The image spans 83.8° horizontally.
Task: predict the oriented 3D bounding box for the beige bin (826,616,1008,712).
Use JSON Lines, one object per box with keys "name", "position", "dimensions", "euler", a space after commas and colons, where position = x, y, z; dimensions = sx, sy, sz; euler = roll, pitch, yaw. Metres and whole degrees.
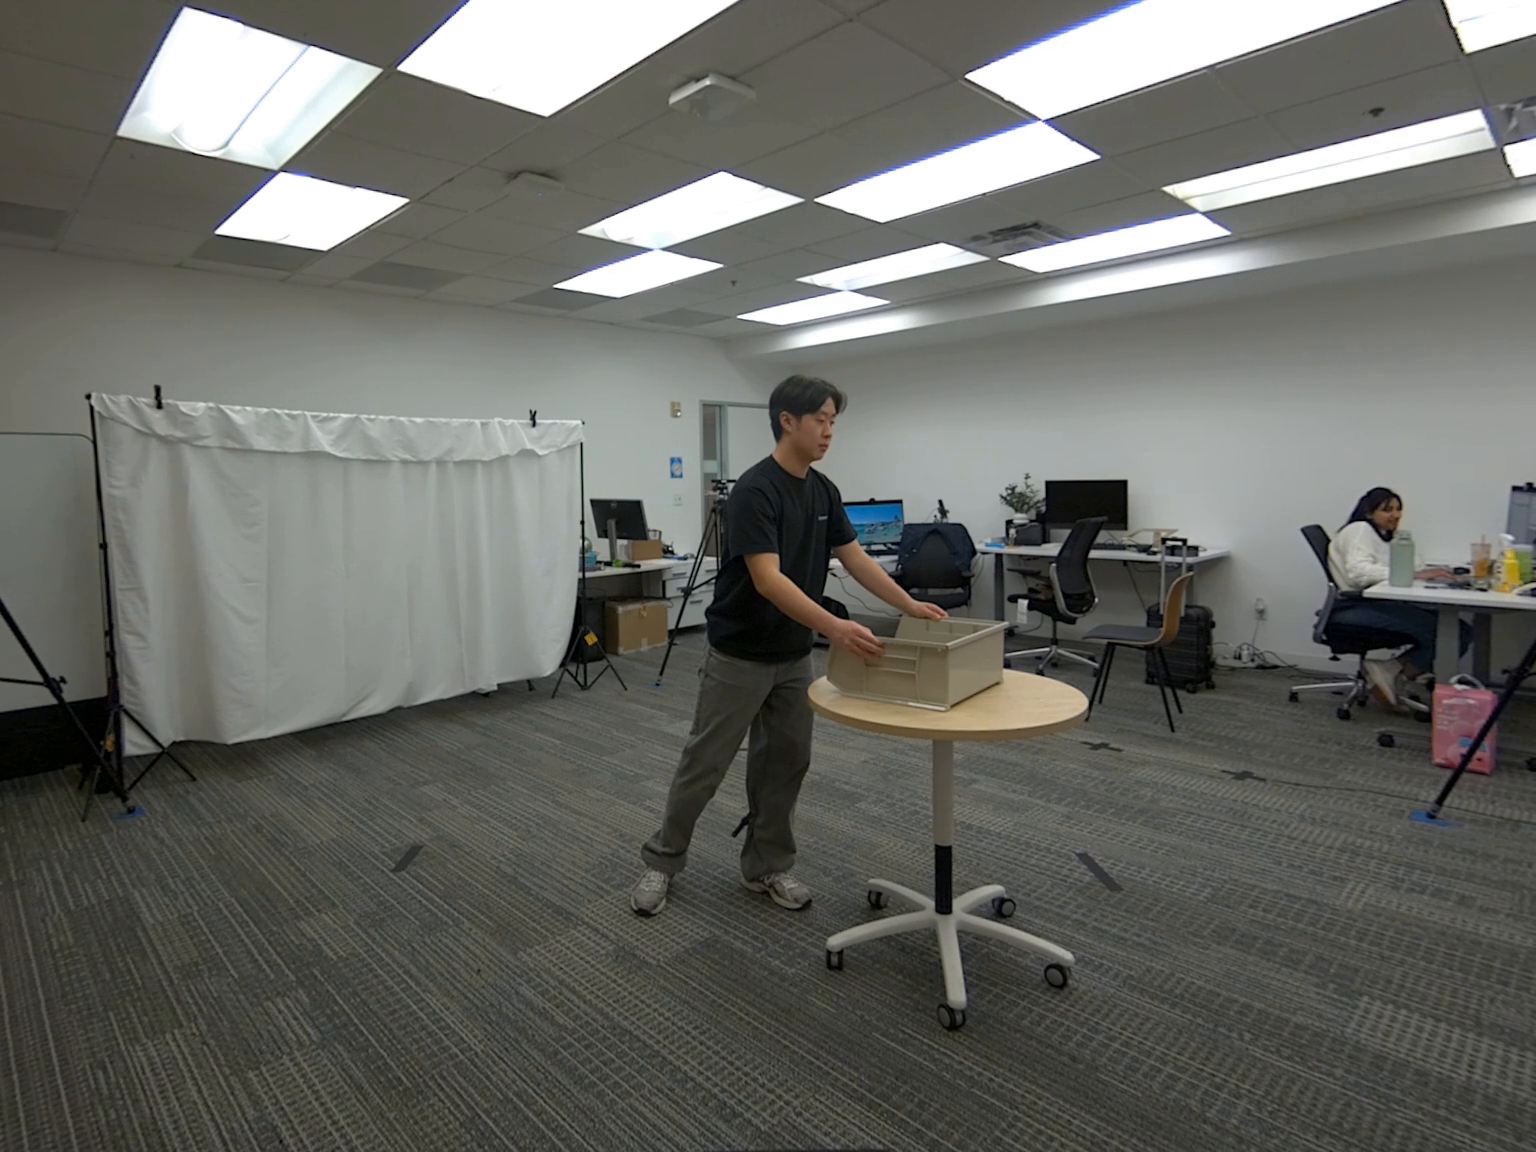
{"name": "beige bin", "position": [0.439, 0.241, 2.474], "dimensions": [0.389, 0.188, 0.411], "euler": [5, 8, 38]}
